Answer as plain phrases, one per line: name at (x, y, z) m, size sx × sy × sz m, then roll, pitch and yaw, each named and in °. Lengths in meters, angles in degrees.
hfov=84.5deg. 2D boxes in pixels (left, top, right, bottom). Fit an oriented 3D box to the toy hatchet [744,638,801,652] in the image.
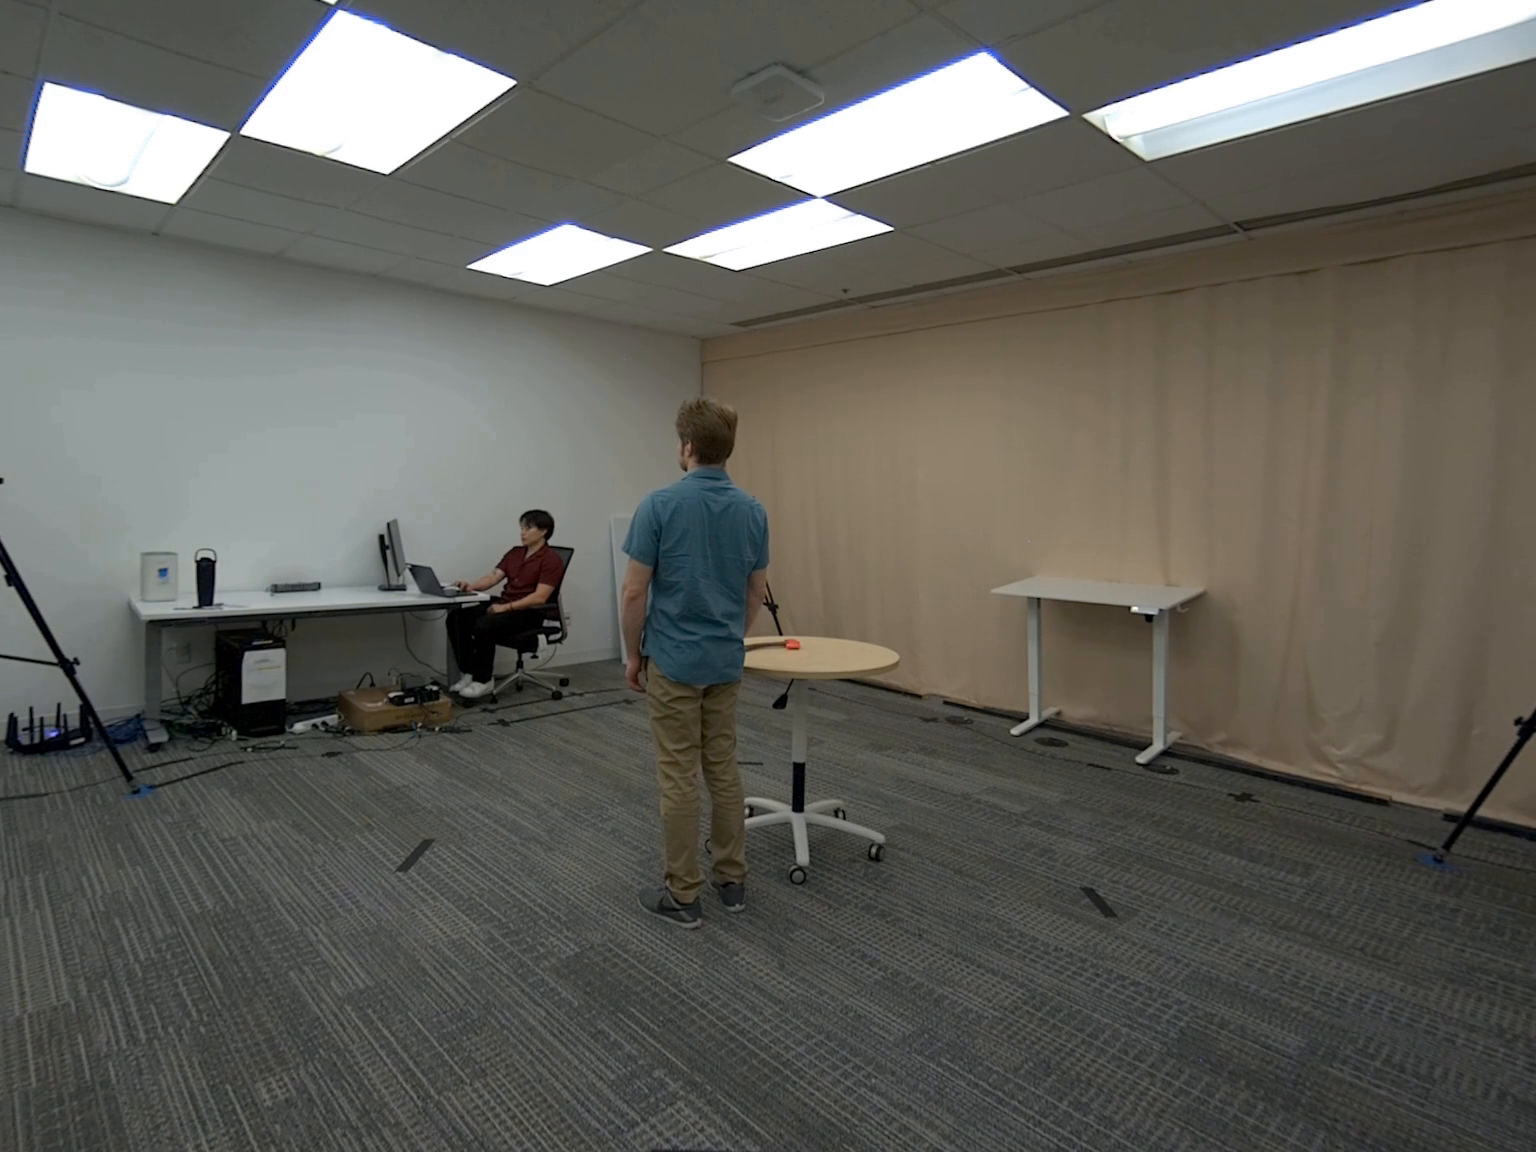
toy hatchet at (0.019, 0.292, 3.402) m, size 0.264 × 0.029 × 0.135 m, roll -6°, pitch 13°, yaw -40°
